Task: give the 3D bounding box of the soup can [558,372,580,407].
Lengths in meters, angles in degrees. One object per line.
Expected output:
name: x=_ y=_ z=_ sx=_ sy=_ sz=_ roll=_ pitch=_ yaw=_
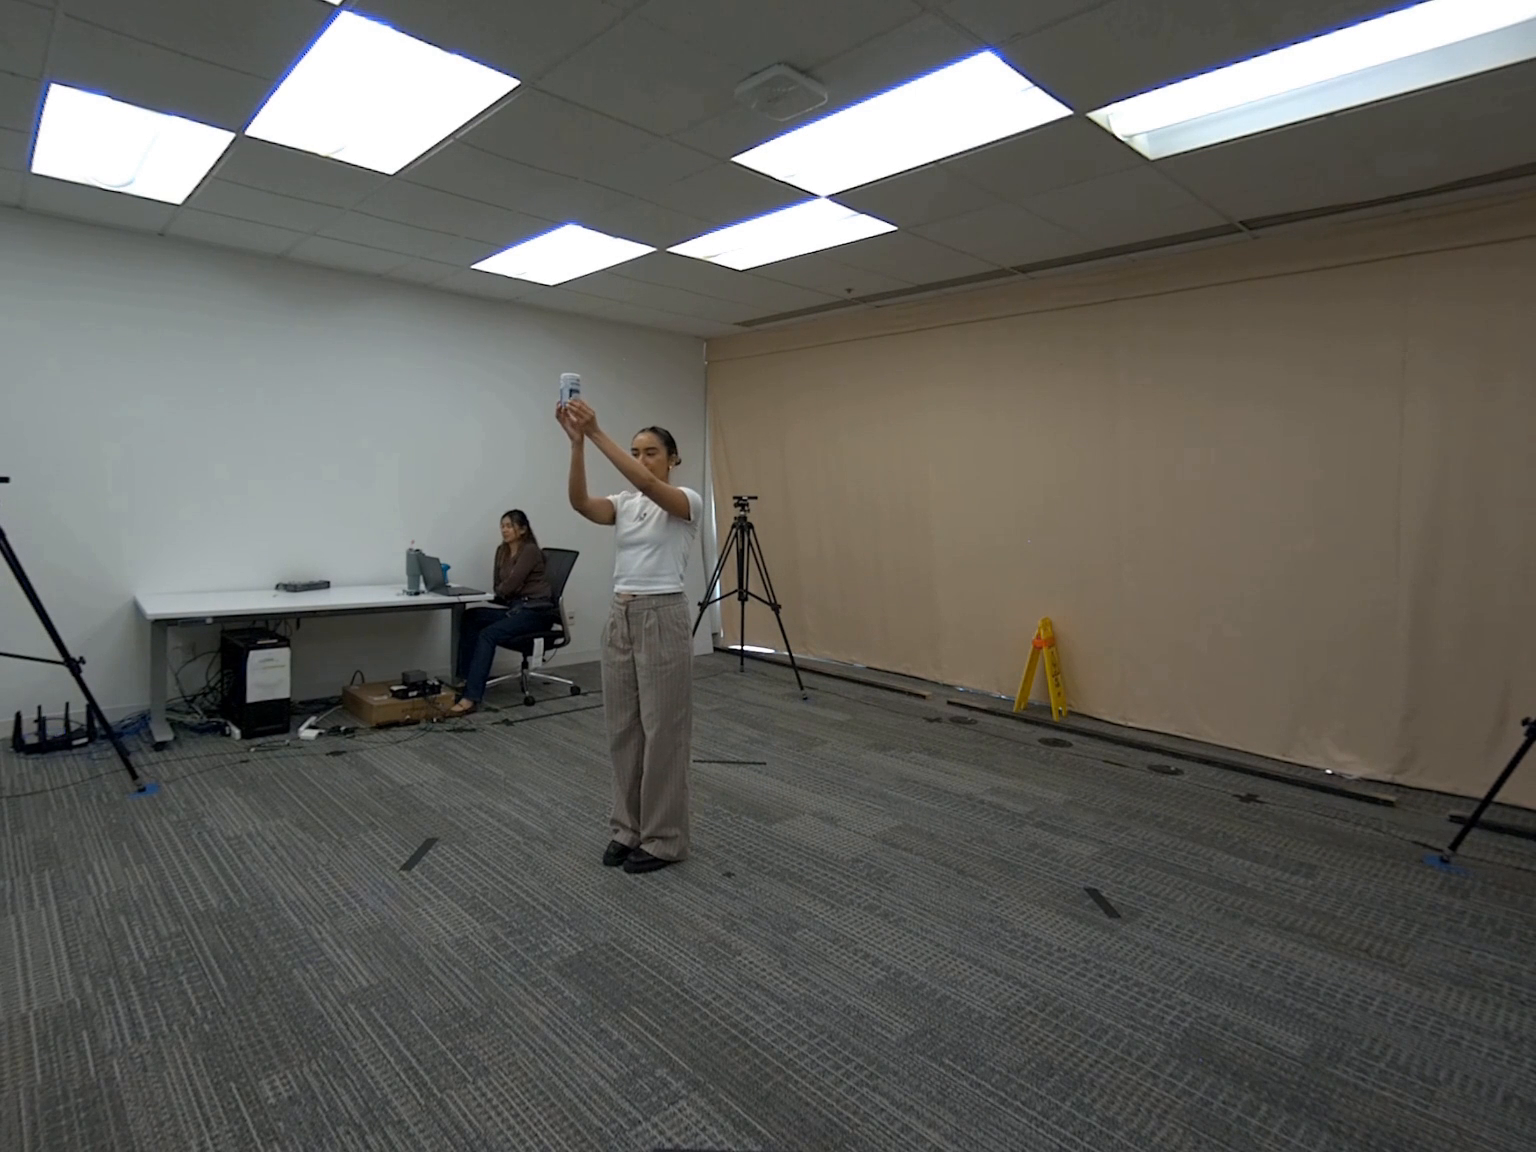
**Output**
soup can: x=-0.688 y=-0.635 z=2.895 sx=0.067 sy=0.121 sz=0.067 roll=0 pitch=3 yaw=-1
